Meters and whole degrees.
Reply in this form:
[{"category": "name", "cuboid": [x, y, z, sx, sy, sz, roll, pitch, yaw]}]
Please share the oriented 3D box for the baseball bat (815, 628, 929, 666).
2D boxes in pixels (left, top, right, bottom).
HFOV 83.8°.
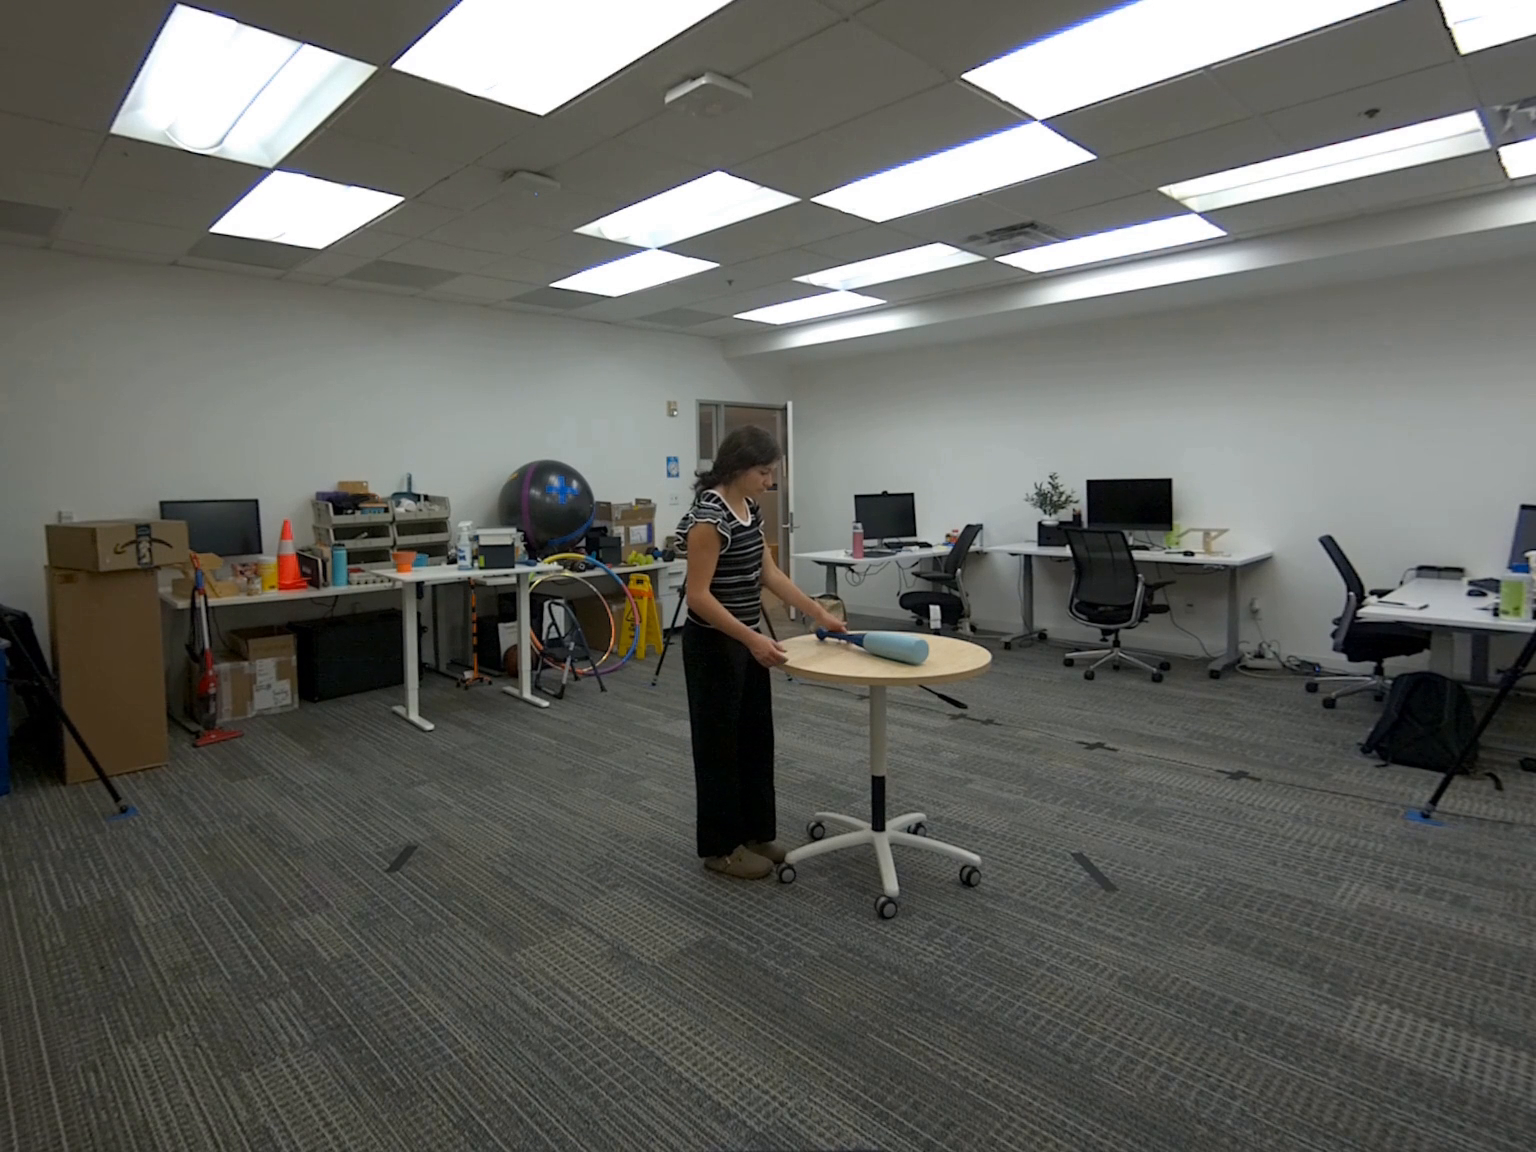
[{"category": "baseball bat", "cuboid": [0.344, 0.228, 2.995, 0.087, 0.089, 0.558, -4, 6, -32]}]
